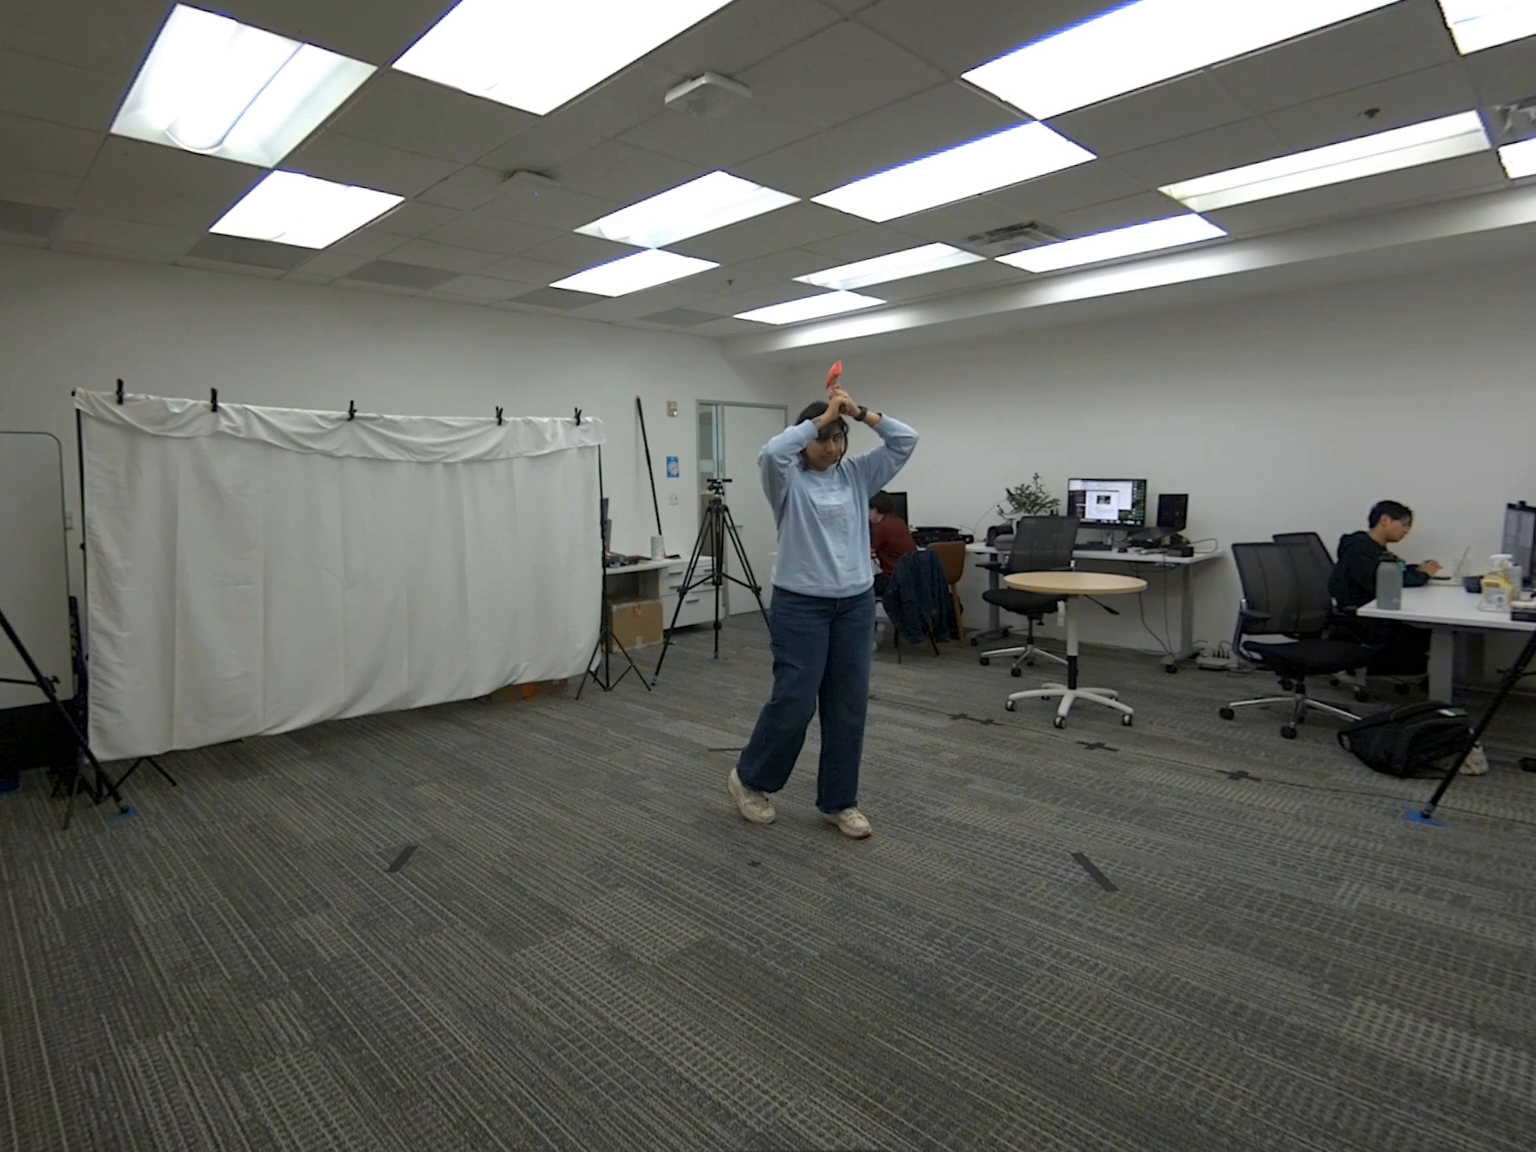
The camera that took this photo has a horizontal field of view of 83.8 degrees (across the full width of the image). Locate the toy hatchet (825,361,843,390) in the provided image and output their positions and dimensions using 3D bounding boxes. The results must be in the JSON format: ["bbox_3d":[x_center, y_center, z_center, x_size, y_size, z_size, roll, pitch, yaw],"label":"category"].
[{"bbox_3d":[0.268,-0.718,3.209,0.029,0.129,0.279,10,32,-18],"label":"toy hatchet"}]
